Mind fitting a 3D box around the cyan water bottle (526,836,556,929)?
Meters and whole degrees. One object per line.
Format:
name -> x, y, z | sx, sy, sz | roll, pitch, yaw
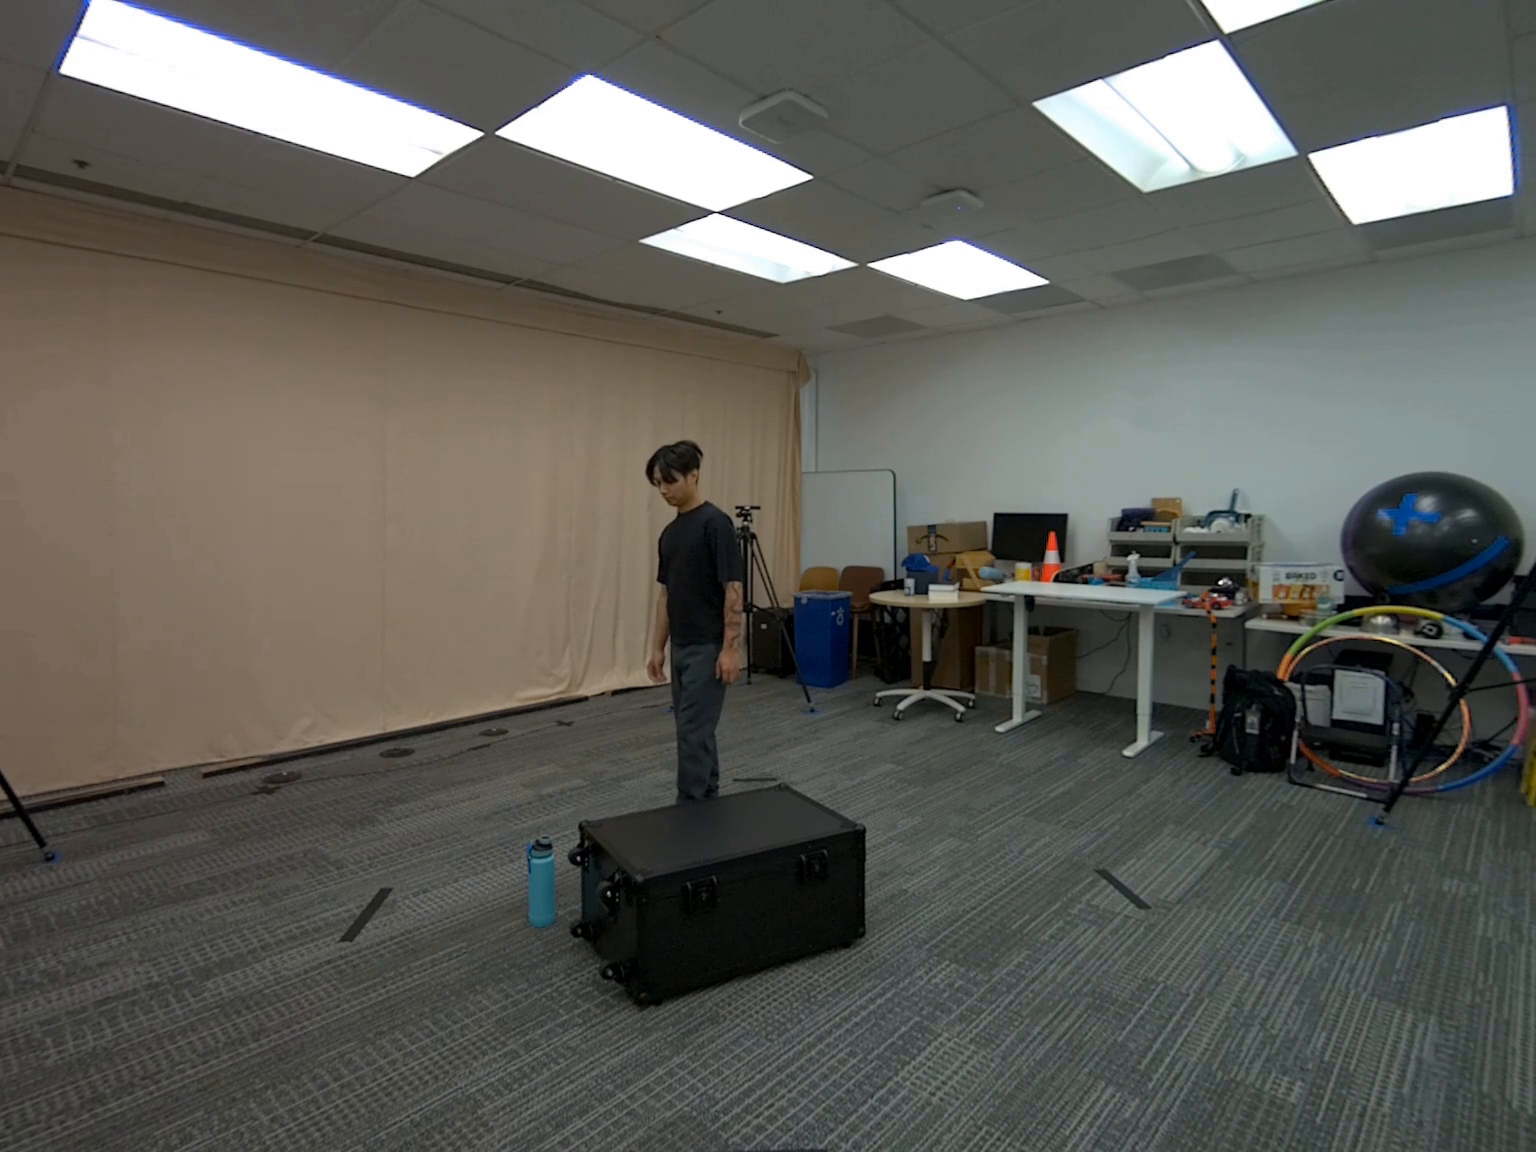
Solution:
cyan water bottle -> -0.765, 1.023, 2.831 | 0.092, 0.283, 0.092 | -2, 3, -2
